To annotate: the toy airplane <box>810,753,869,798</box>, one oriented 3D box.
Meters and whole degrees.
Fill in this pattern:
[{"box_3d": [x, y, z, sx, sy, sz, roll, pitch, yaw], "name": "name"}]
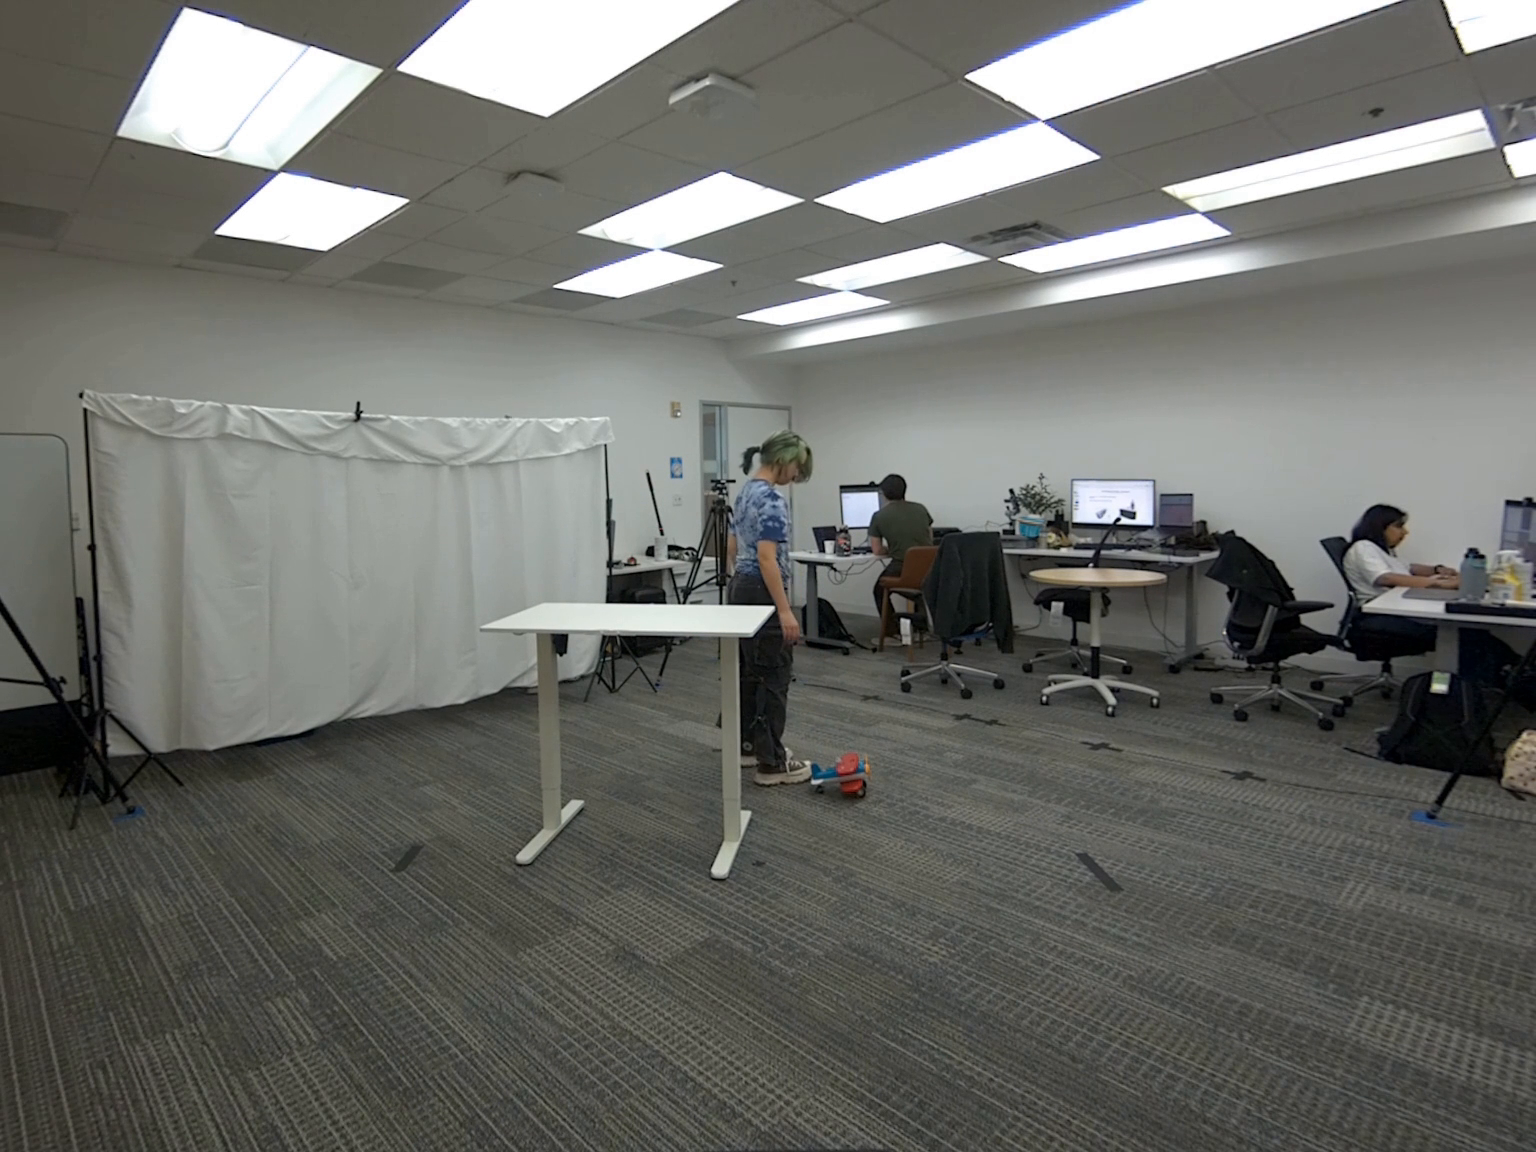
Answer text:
[{"box_3d": [0.323, 0.893, 3.778, 0.255, 0.156, 0.256, -3, 6, -17], "name": "toy airplane"}]
